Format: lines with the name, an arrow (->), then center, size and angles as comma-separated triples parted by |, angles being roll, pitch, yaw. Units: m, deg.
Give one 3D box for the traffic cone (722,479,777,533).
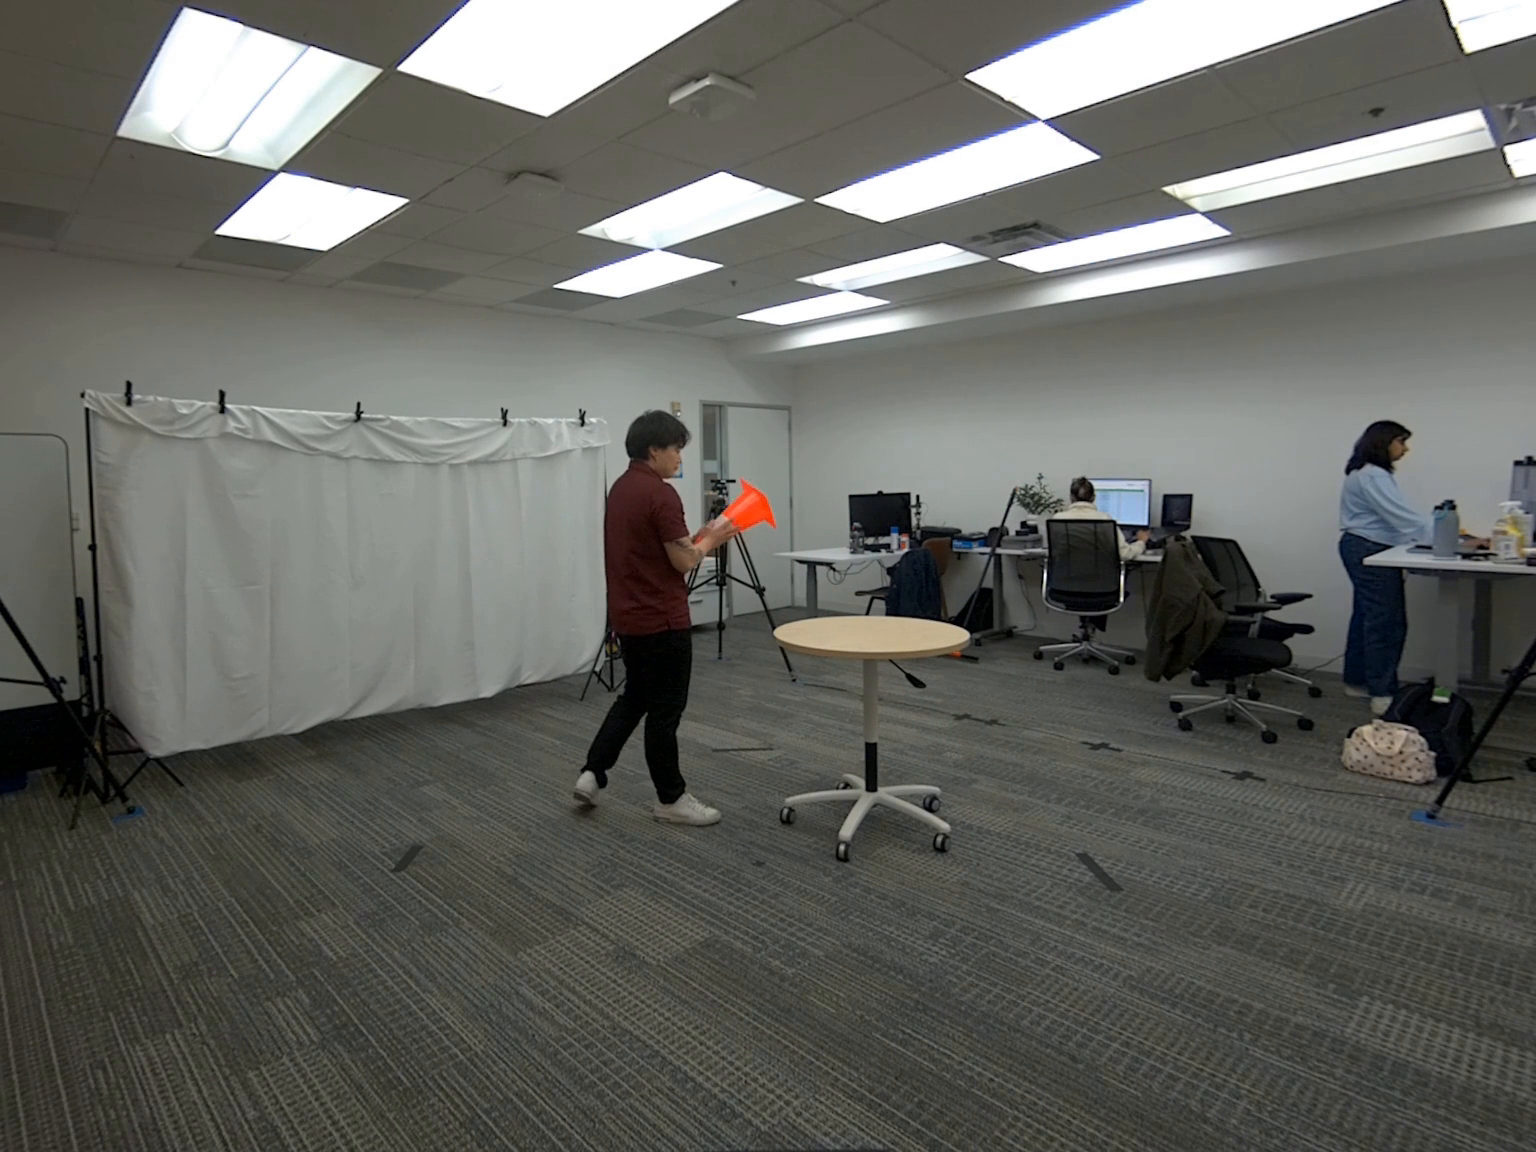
traffic cone -> -0.197, -0.205, 3.600 | 0.382, 0.198, 0.211 | -36, 49, -18
